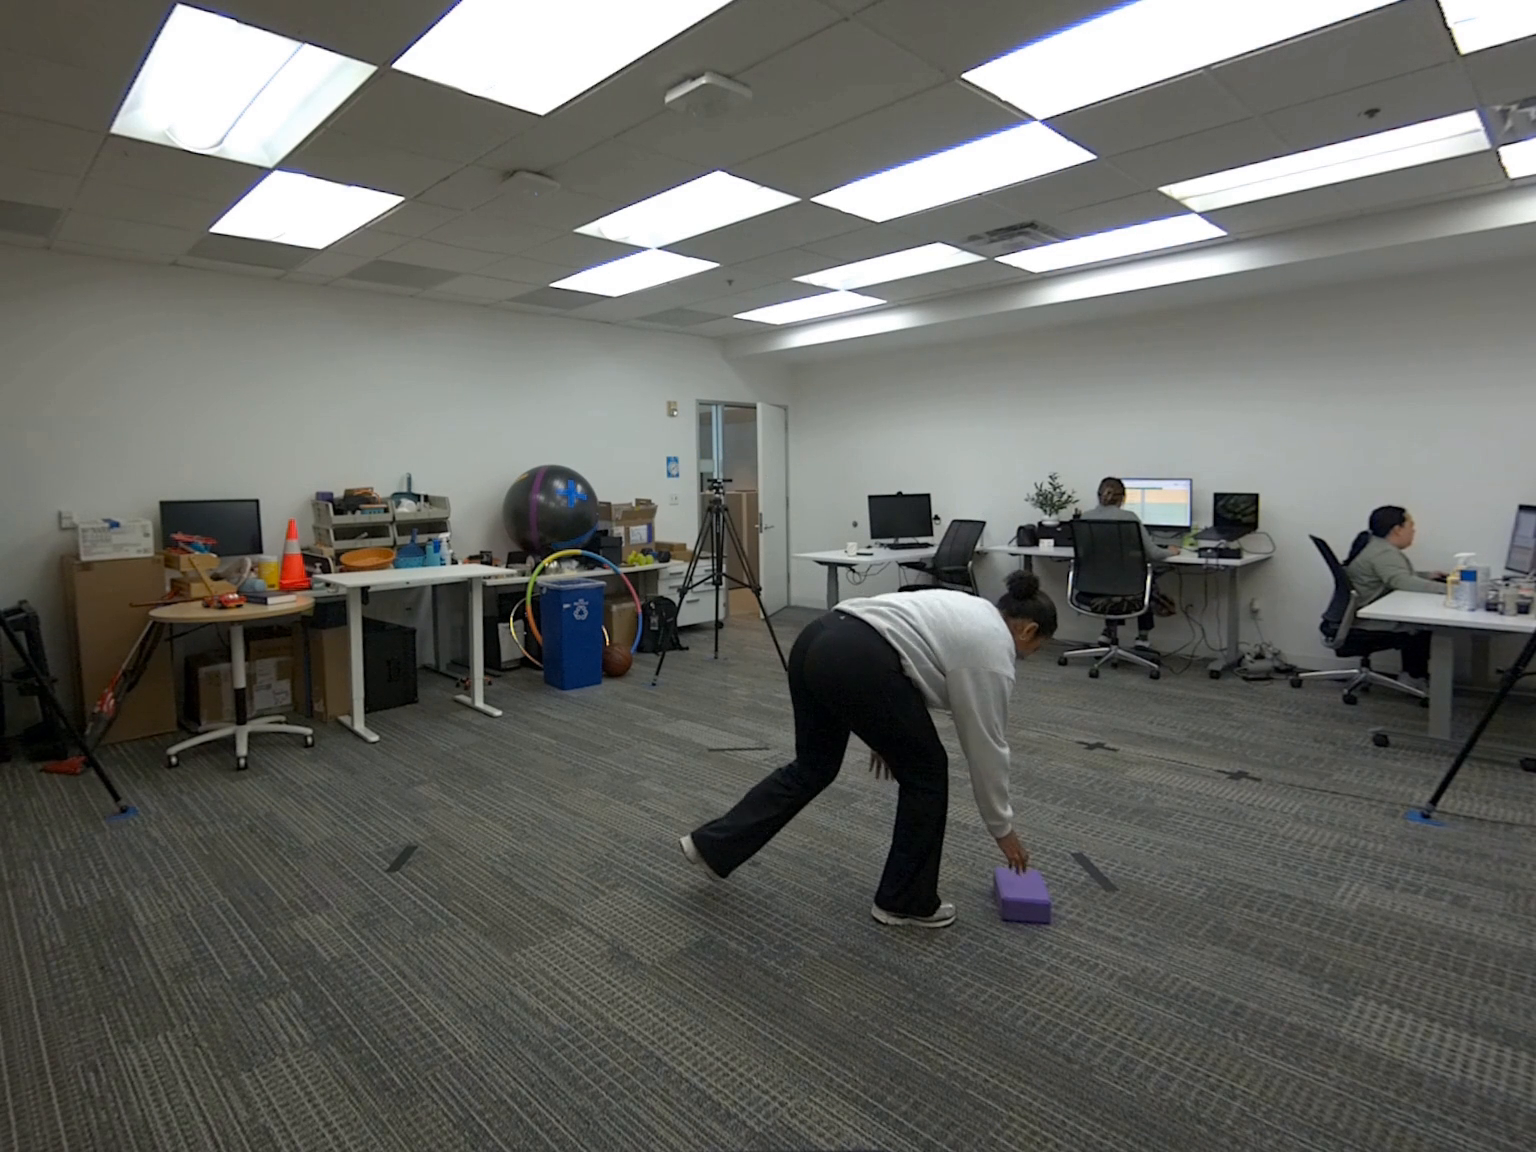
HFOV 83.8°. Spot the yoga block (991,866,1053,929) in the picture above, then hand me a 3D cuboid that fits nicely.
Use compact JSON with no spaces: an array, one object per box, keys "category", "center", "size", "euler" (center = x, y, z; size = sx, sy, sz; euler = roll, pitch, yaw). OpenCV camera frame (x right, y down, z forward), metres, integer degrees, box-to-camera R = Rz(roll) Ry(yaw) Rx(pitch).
[{"category":"yoga block","center":[0.821,1.027,2.763],"size":[0.150,0.076,0.228],"euler":[-1,6,9]}]
